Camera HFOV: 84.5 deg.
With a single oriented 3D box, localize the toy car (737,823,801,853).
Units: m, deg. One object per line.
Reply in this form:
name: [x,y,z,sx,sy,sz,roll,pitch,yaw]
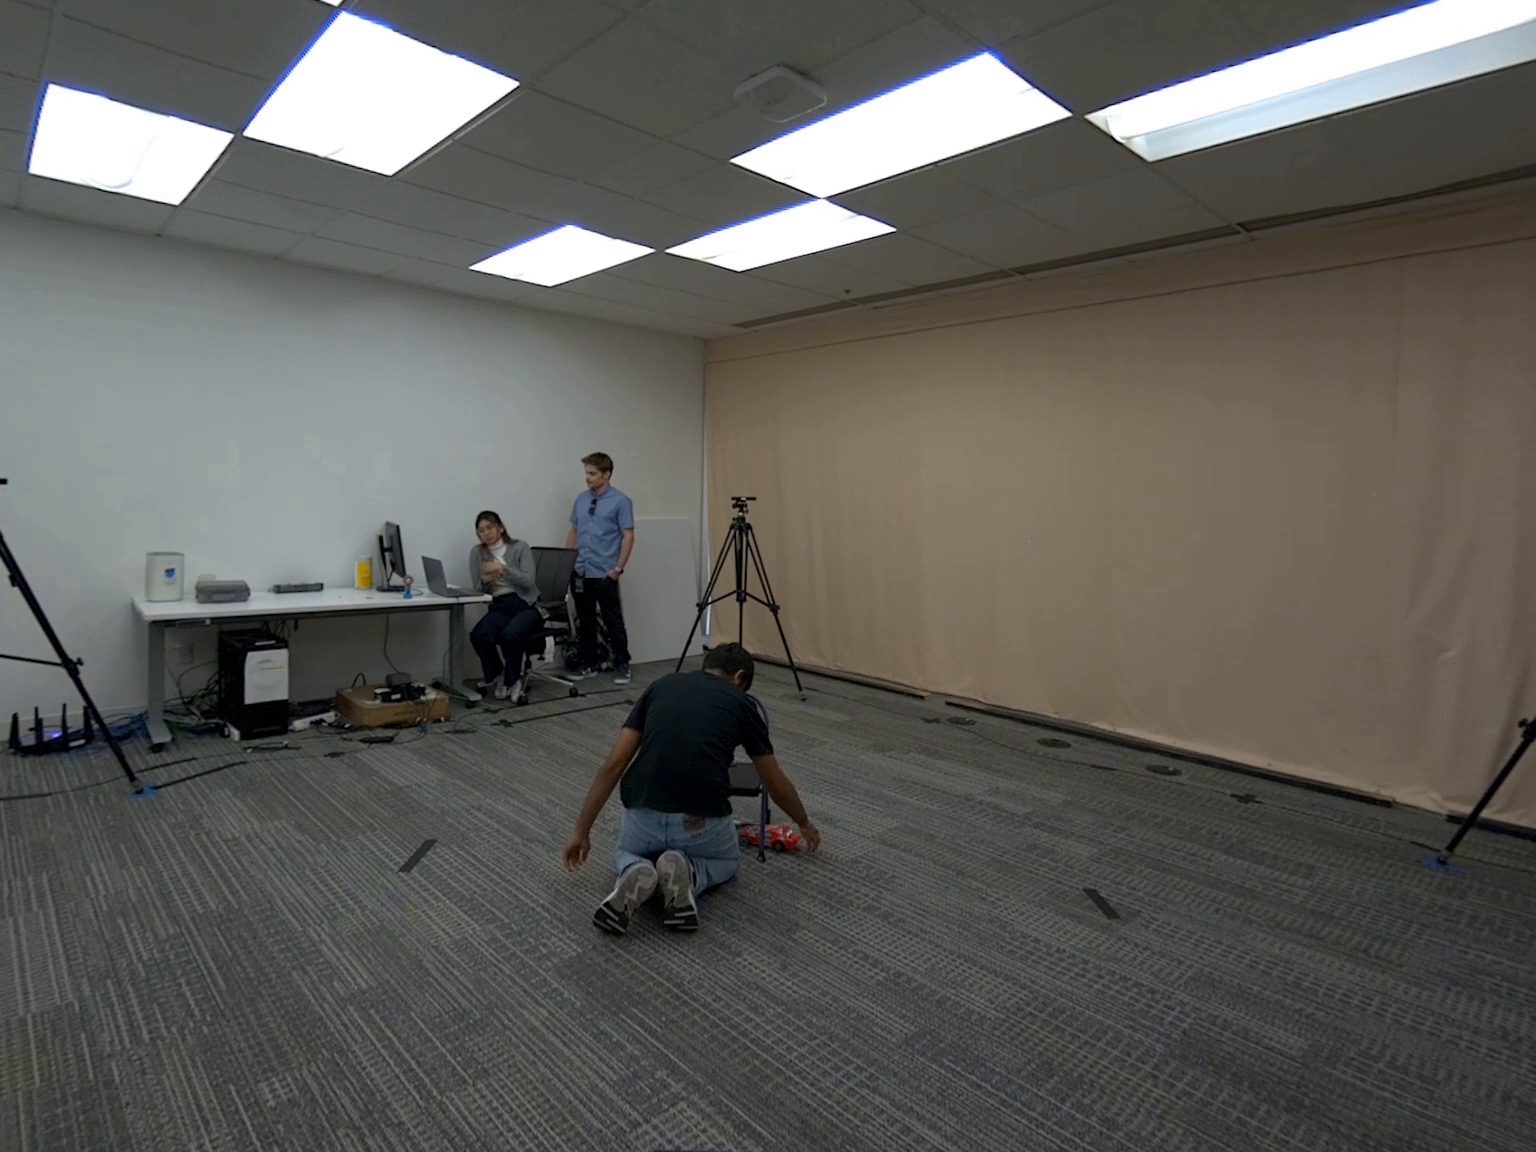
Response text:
toy car: [0.007,1.057,3.394,0.258,0.083,0.128,-8,0,20]
